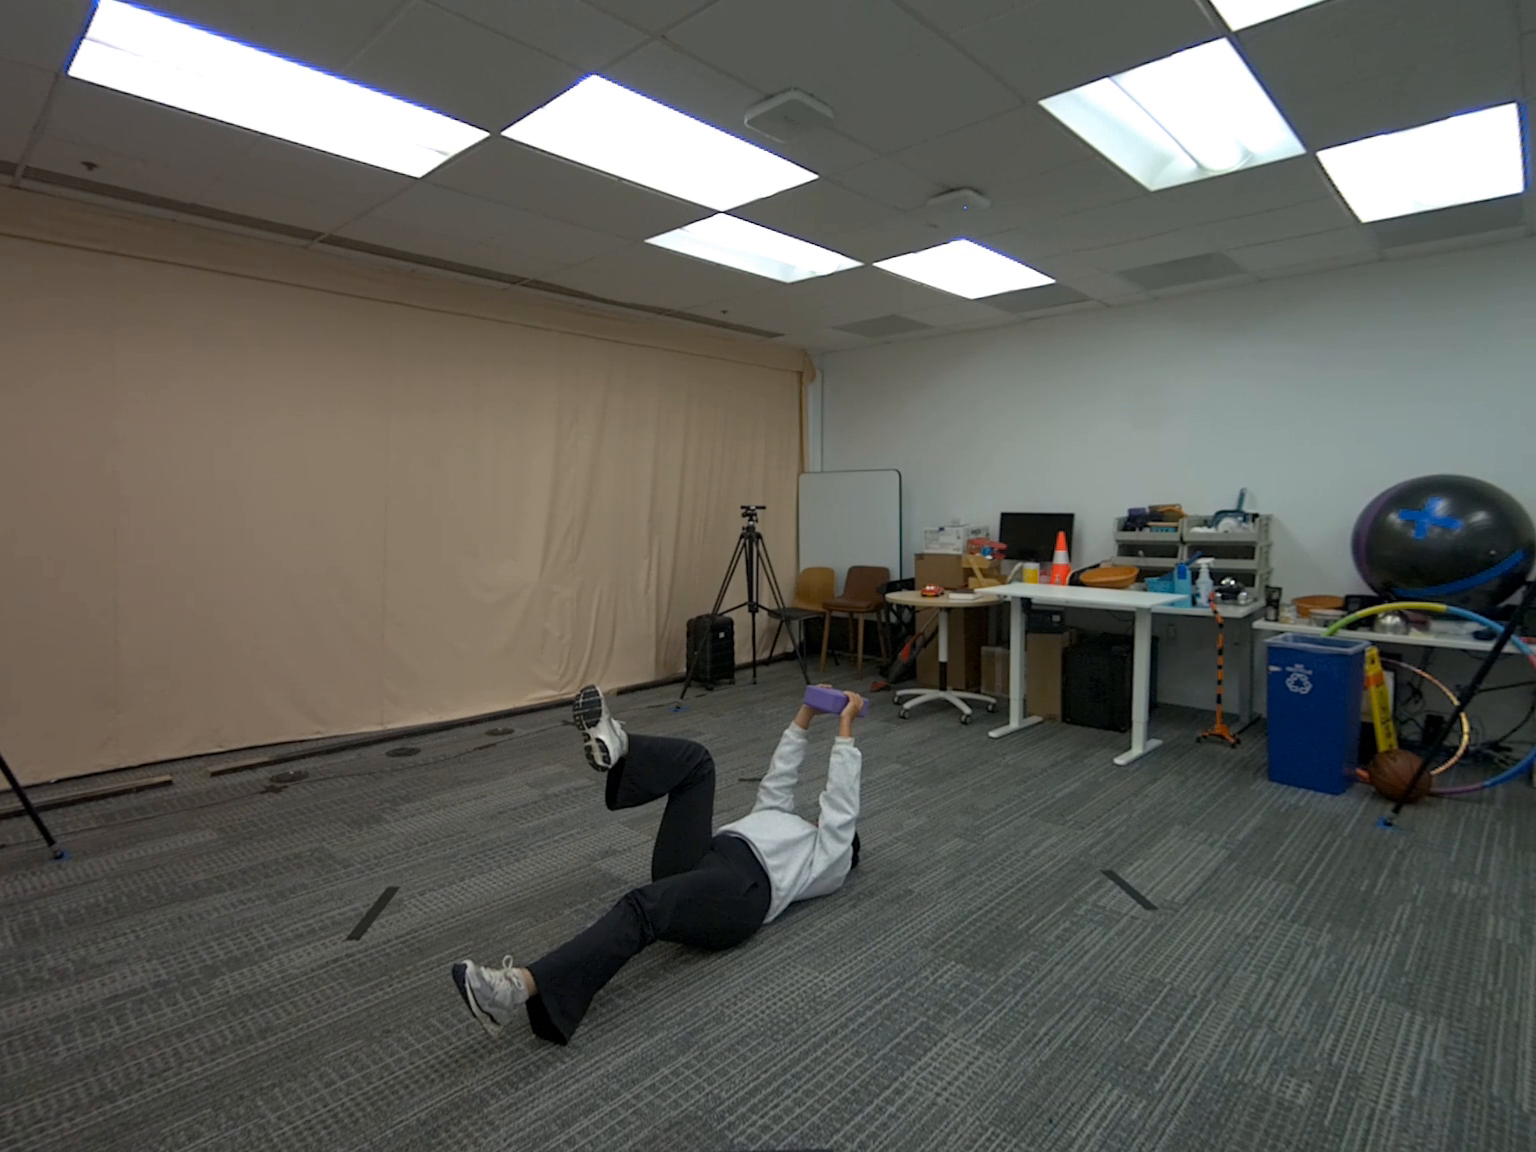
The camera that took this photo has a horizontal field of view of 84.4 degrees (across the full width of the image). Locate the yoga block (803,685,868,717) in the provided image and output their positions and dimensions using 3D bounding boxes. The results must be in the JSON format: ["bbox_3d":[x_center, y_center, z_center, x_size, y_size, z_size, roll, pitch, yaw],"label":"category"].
[{"bbox_3d":[0.271,0.484,3.250,0.154,0.076,0.221,12,-2,39],"label":"yoga block"}]
